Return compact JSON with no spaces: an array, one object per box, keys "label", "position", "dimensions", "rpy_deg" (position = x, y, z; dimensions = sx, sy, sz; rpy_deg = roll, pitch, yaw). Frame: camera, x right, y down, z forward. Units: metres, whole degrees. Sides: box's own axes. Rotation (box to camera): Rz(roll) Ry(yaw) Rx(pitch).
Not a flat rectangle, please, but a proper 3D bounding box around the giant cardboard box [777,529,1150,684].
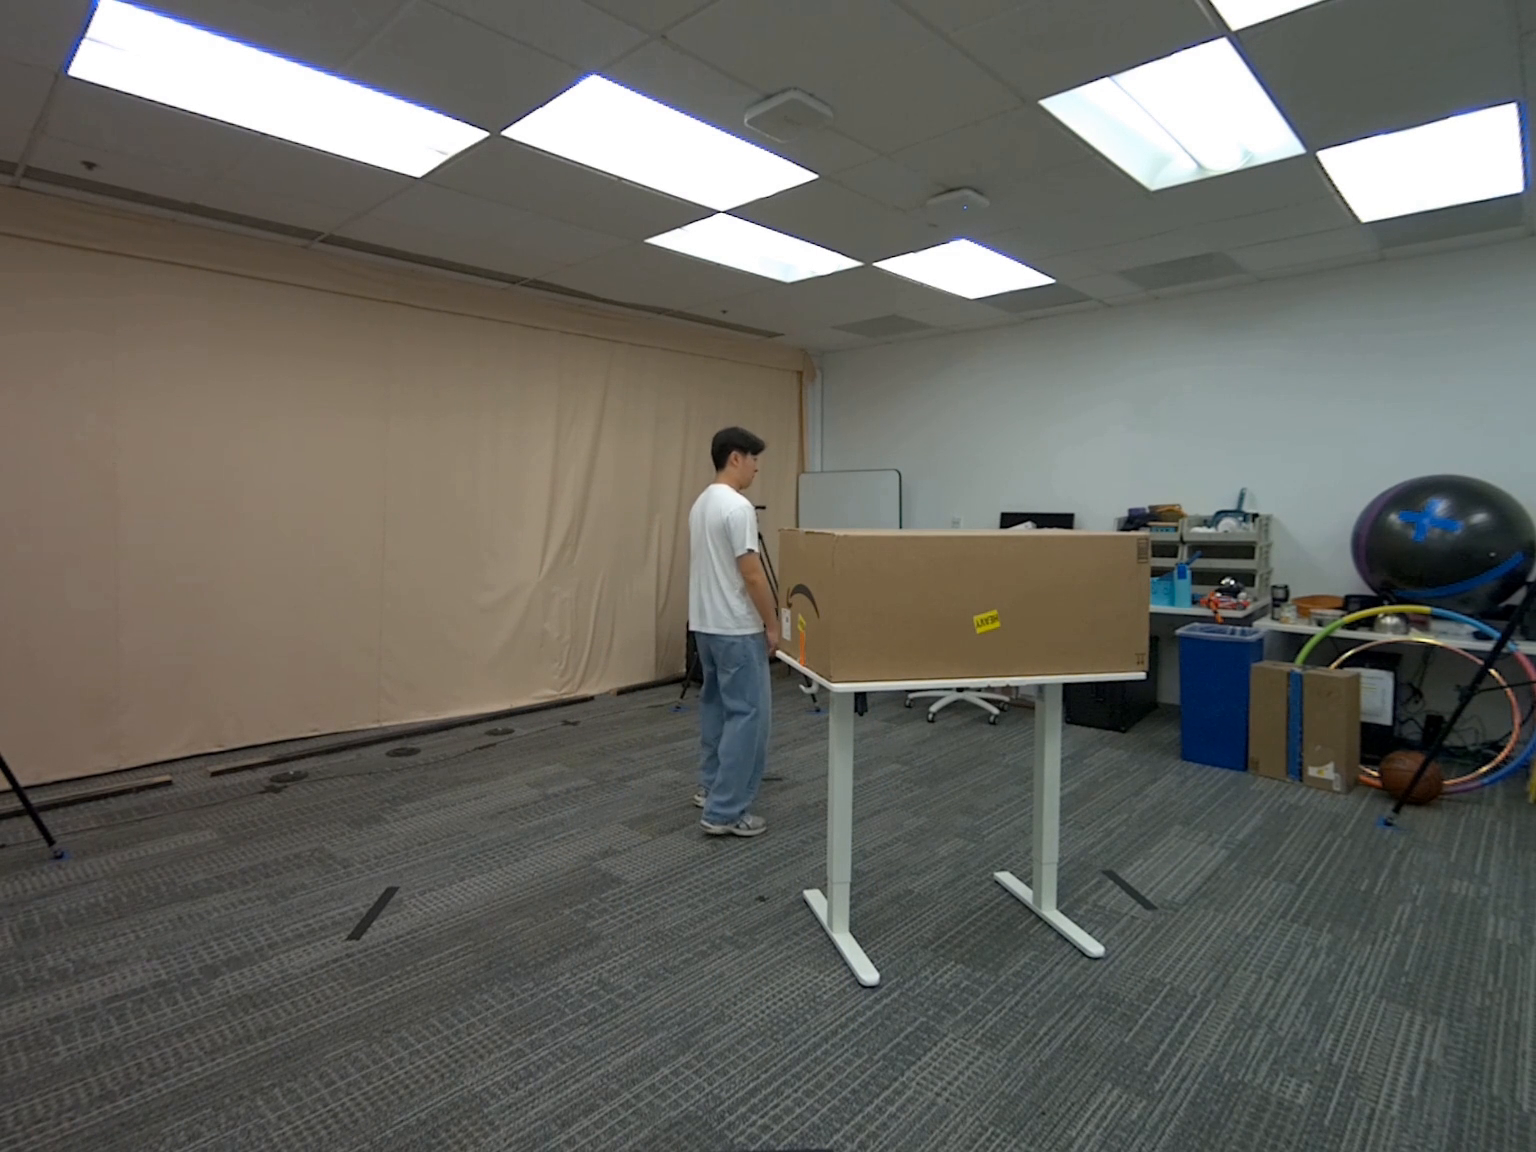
[{"label":"giant cardboard box","position":[0.604,0.068,2.754],"dimensions":[1.013,0.425,0.586],"rpy_deg":[0,3,-12]}]
